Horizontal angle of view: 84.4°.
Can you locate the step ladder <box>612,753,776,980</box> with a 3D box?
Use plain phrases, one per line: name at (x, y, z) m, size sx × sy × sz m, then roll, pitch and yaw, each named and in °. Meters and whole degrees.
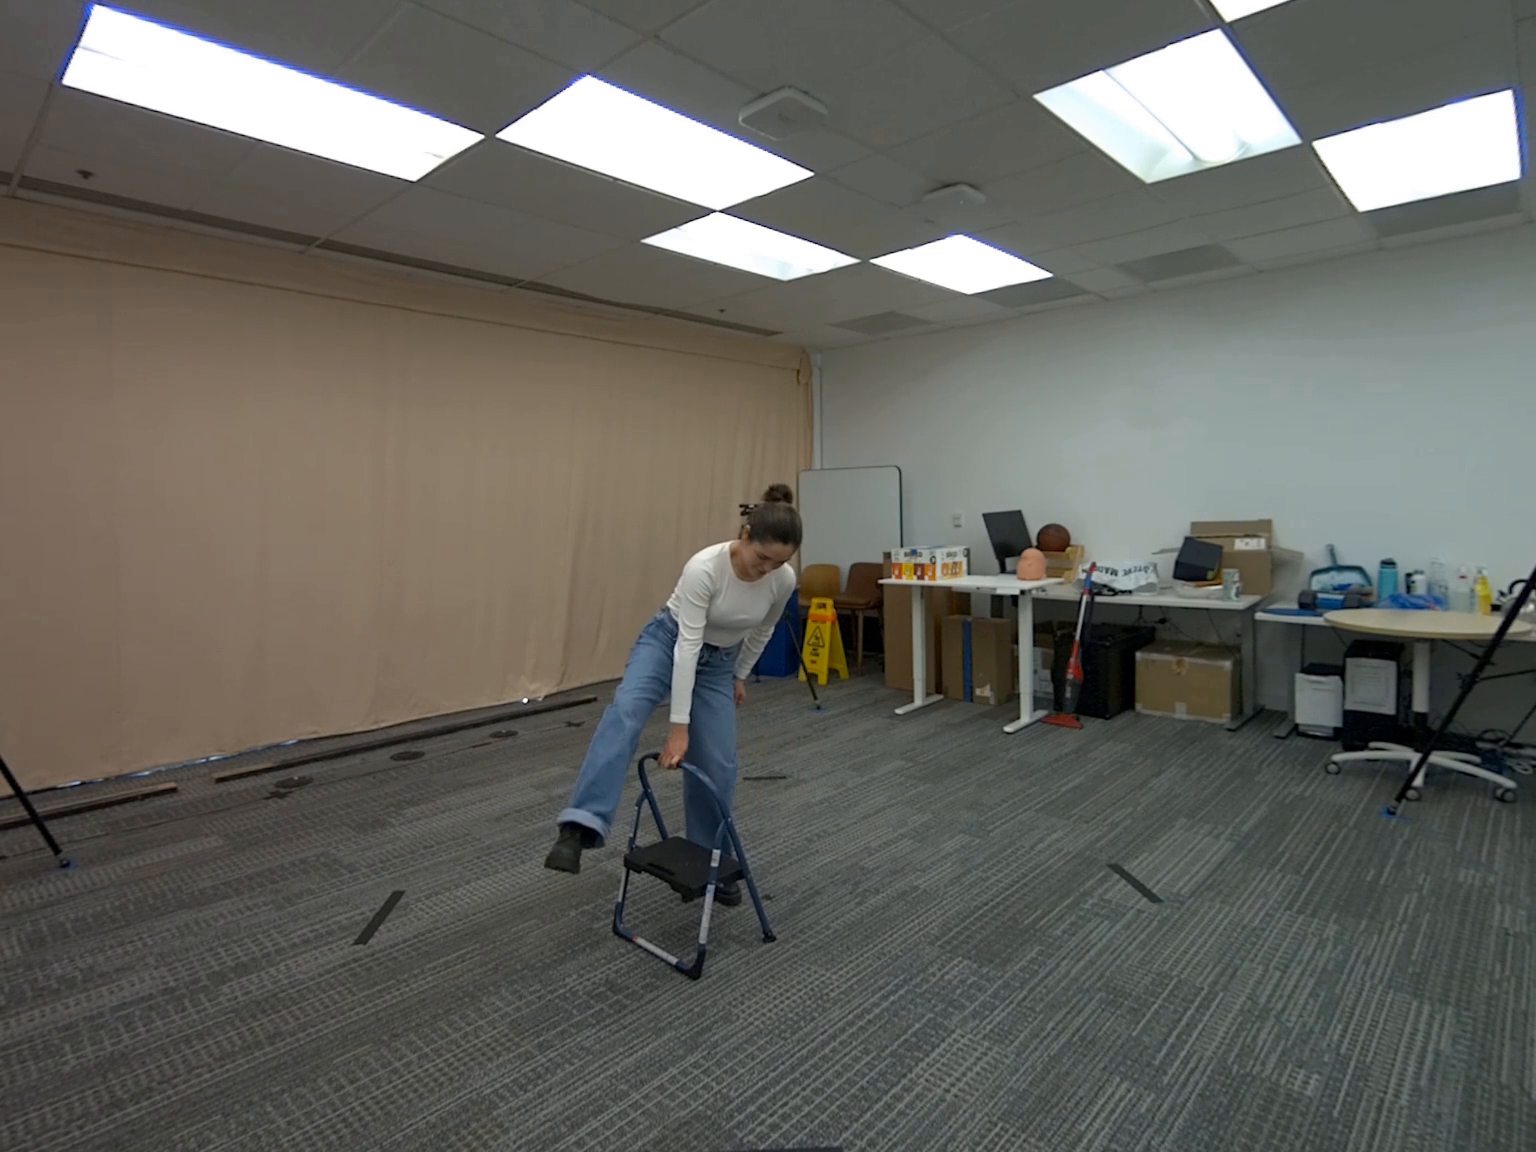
step ladder at (-0.251, 0.864, 2.710) m, size 0.445 × 0.605 × 0.339 m, roll 2°, pitch 5°, yaw 44°
